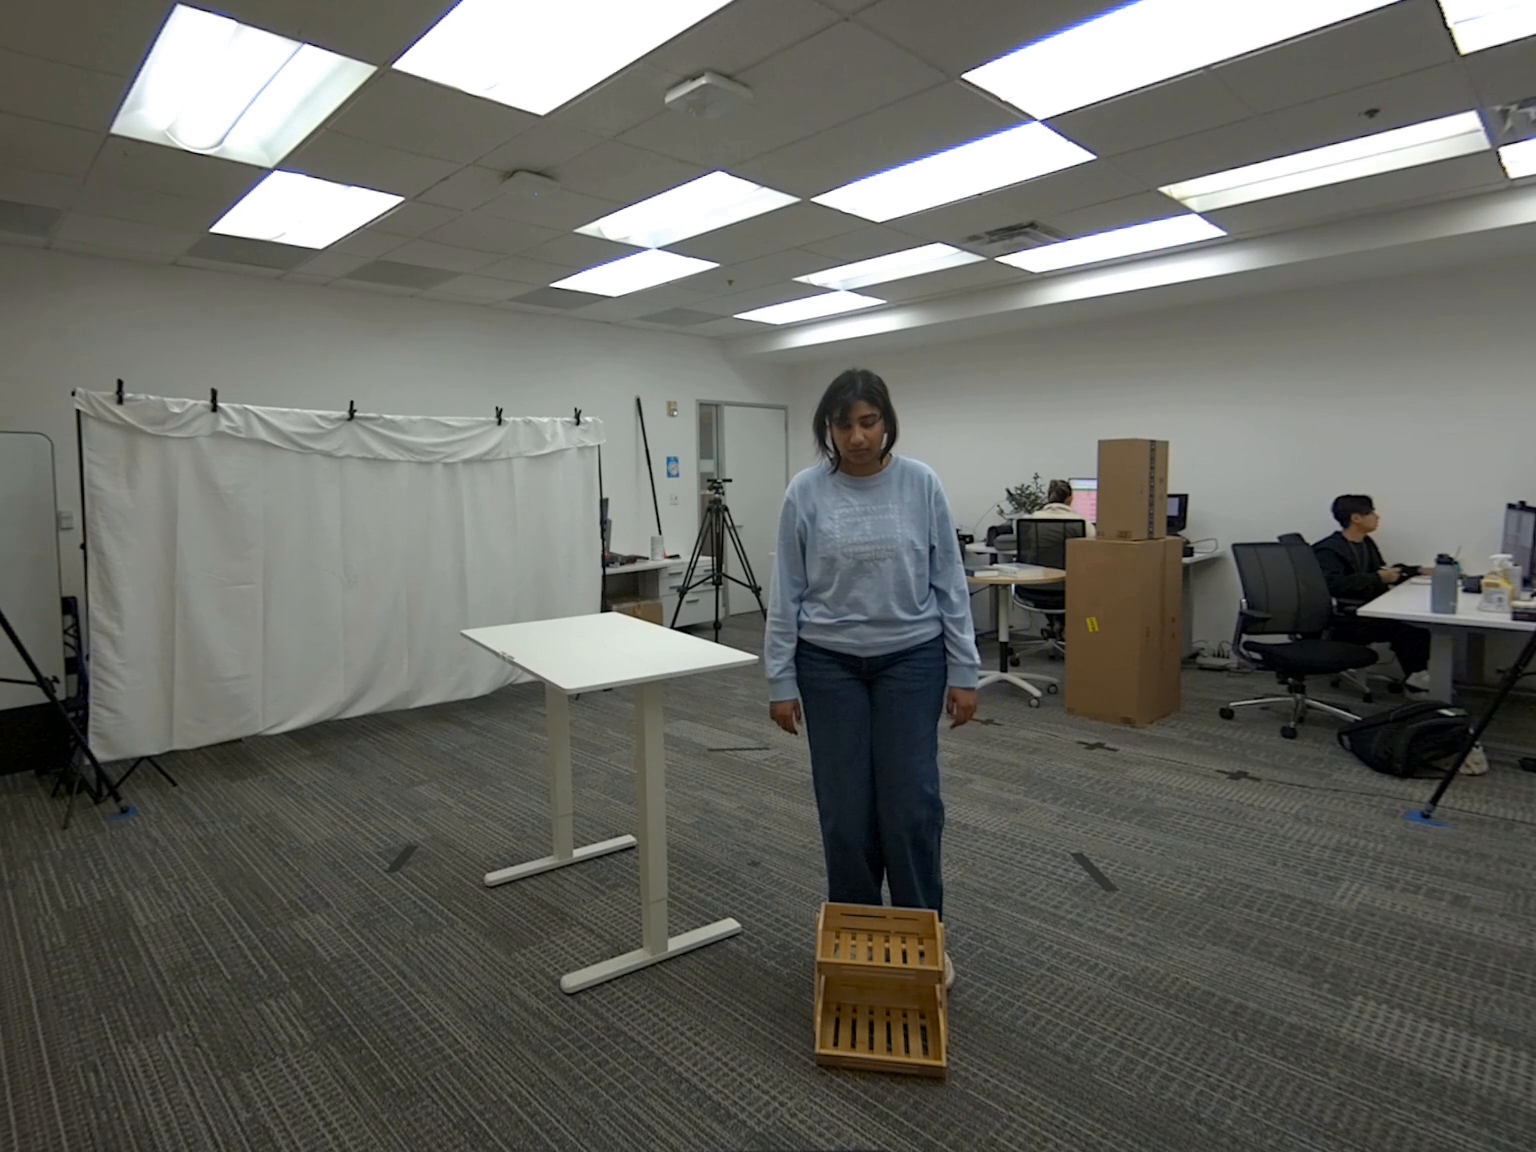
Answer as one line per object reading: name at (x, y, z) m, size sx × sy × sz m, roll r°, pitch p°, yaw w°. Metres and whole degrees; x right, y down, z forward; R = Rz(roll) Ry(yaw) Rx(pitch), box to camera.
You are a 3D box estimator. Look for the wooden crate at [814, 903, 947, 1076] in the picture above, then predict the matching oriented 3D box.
wooden crate at (0.288, 1.027, 2.119) m, size 0.327 × 0.272 × 0.300 m, roll 0°, pitch 4°, yaw 9°
